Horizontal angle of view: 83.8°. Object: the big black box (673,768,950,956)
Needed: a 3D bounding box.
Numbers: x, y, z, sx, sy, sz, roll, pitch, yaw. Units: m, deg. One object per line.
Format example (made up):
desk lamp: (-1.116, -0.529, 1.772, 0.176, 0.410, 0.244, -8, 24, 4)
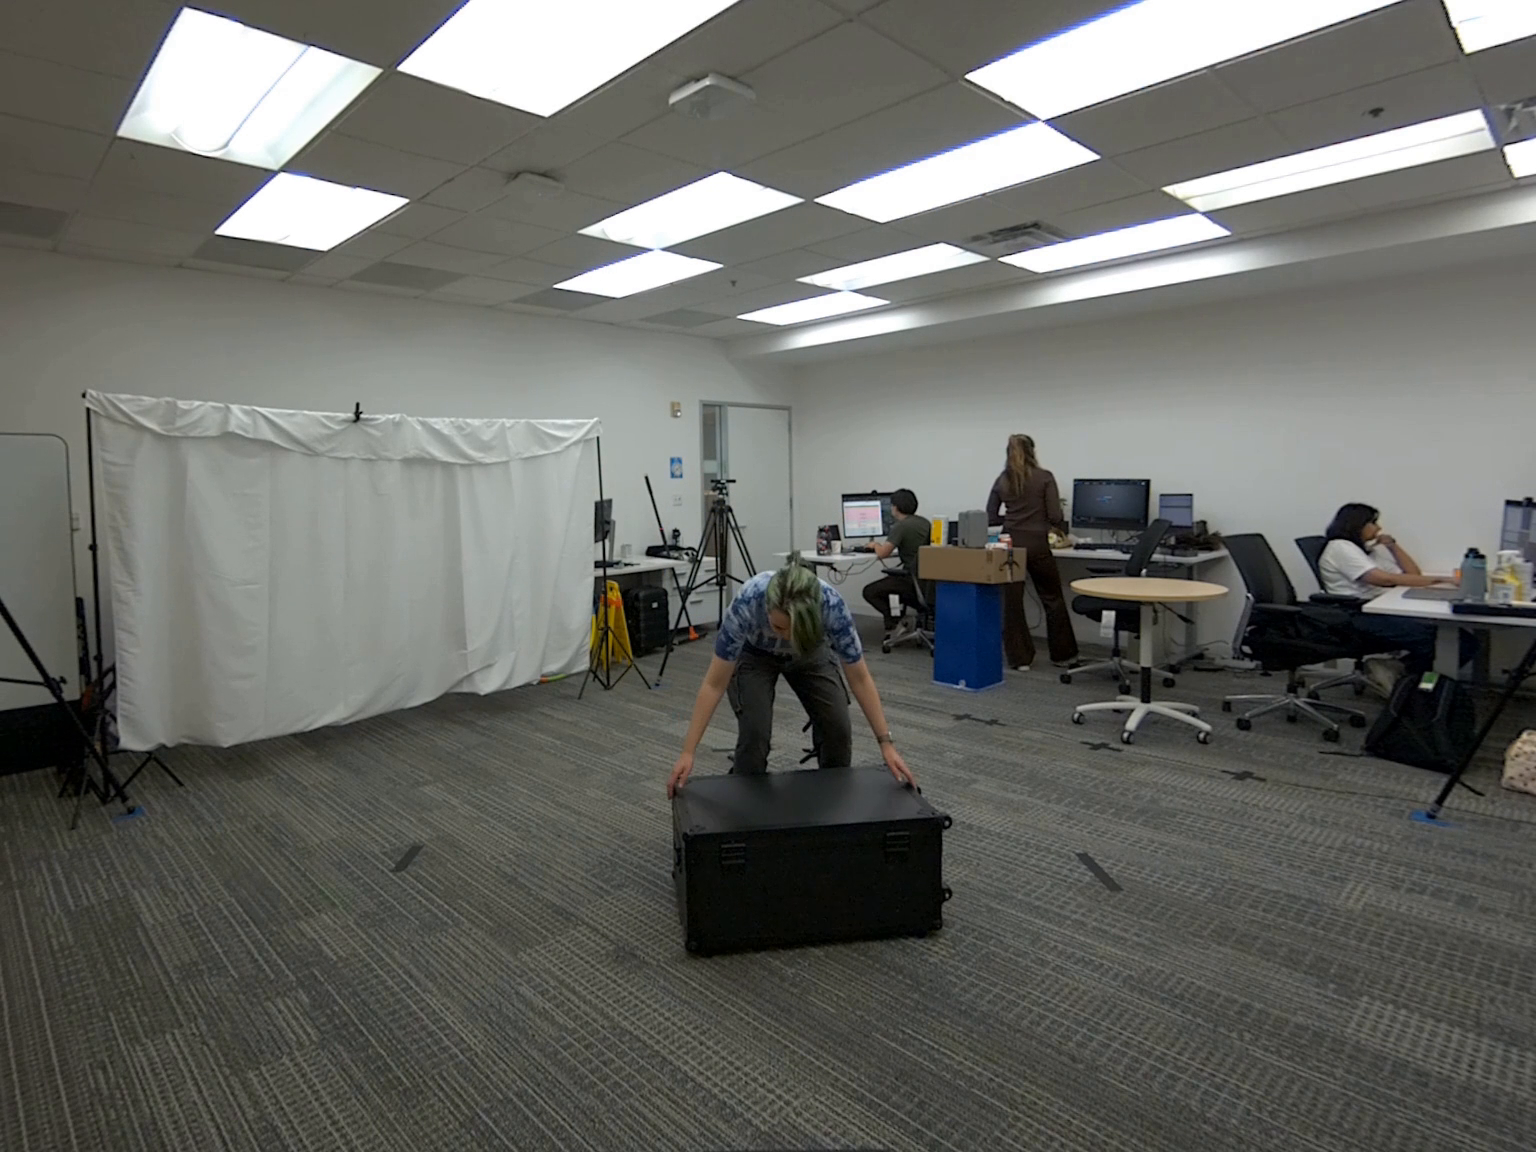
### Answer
big black box: (0.075, 0.890, 2.759, 0.854, 0.395, 0.528, -2, 5, -9)
